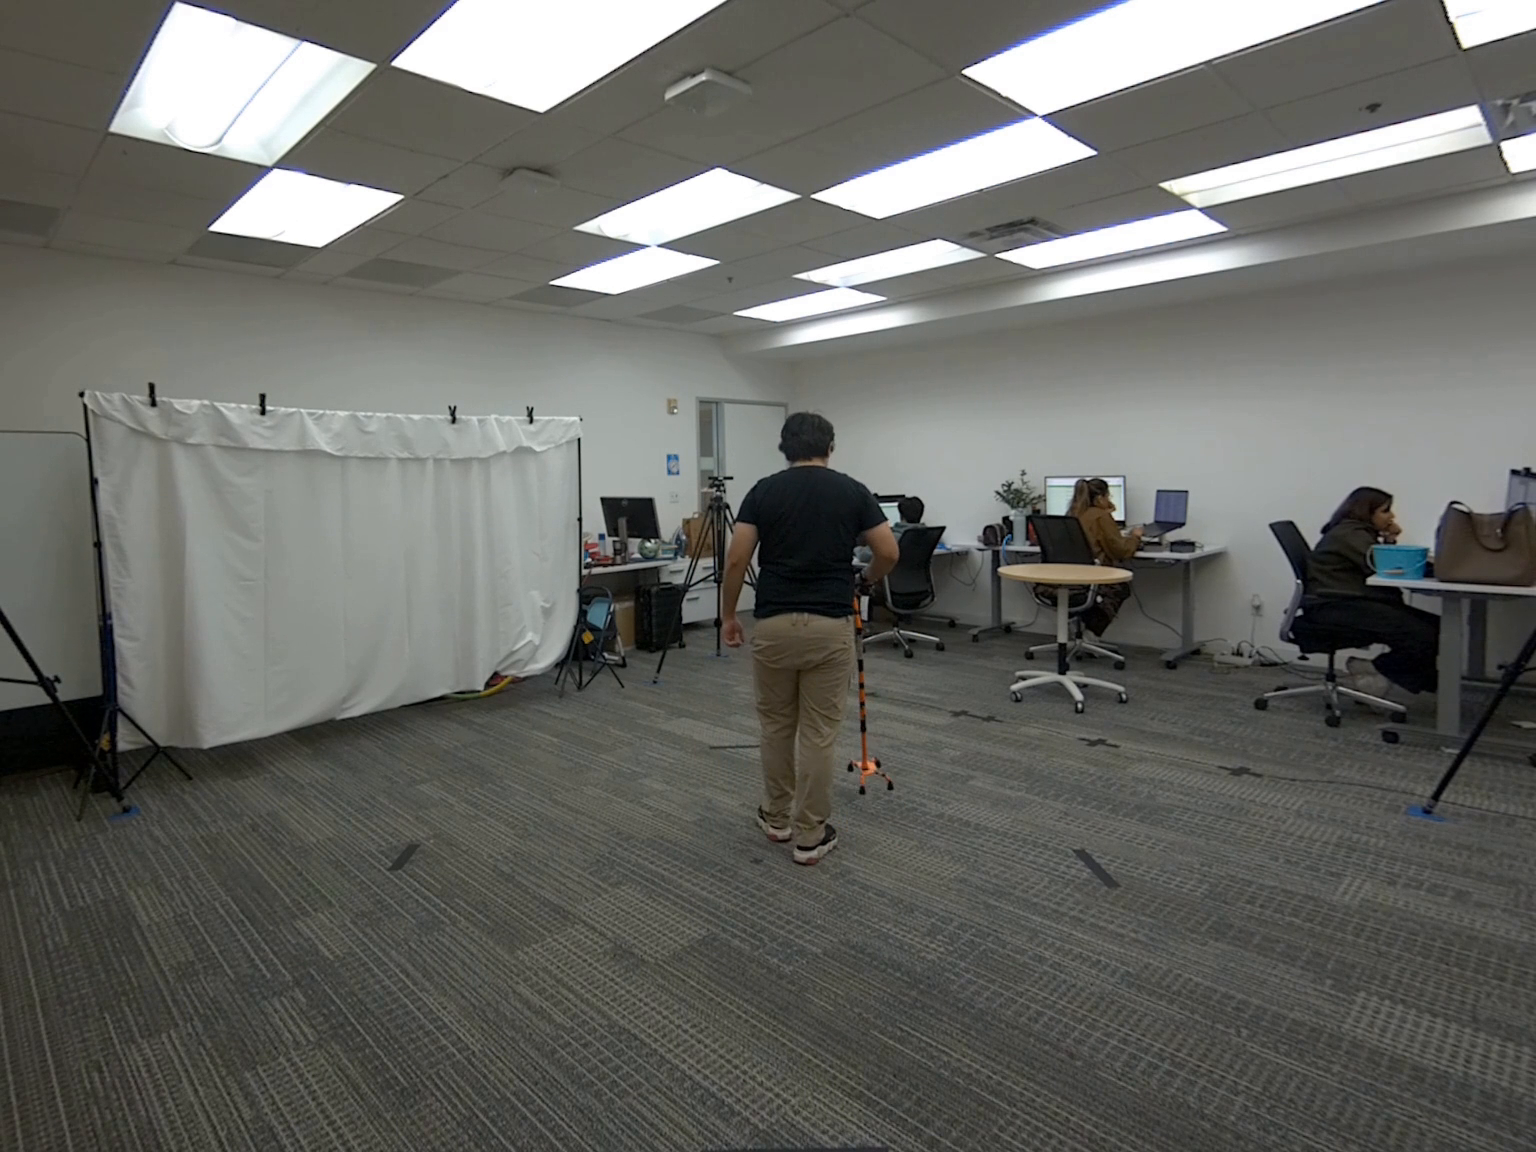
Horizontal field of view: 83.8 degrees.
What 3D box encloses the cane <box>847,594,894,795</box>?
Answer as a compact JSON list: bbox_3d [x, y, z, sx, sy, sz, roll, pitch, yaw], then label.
[{"bbox_3d":[0.405,0.460,3.518,0.150,0.894,0.211,-7,16,-11],"label":"cane"}]
